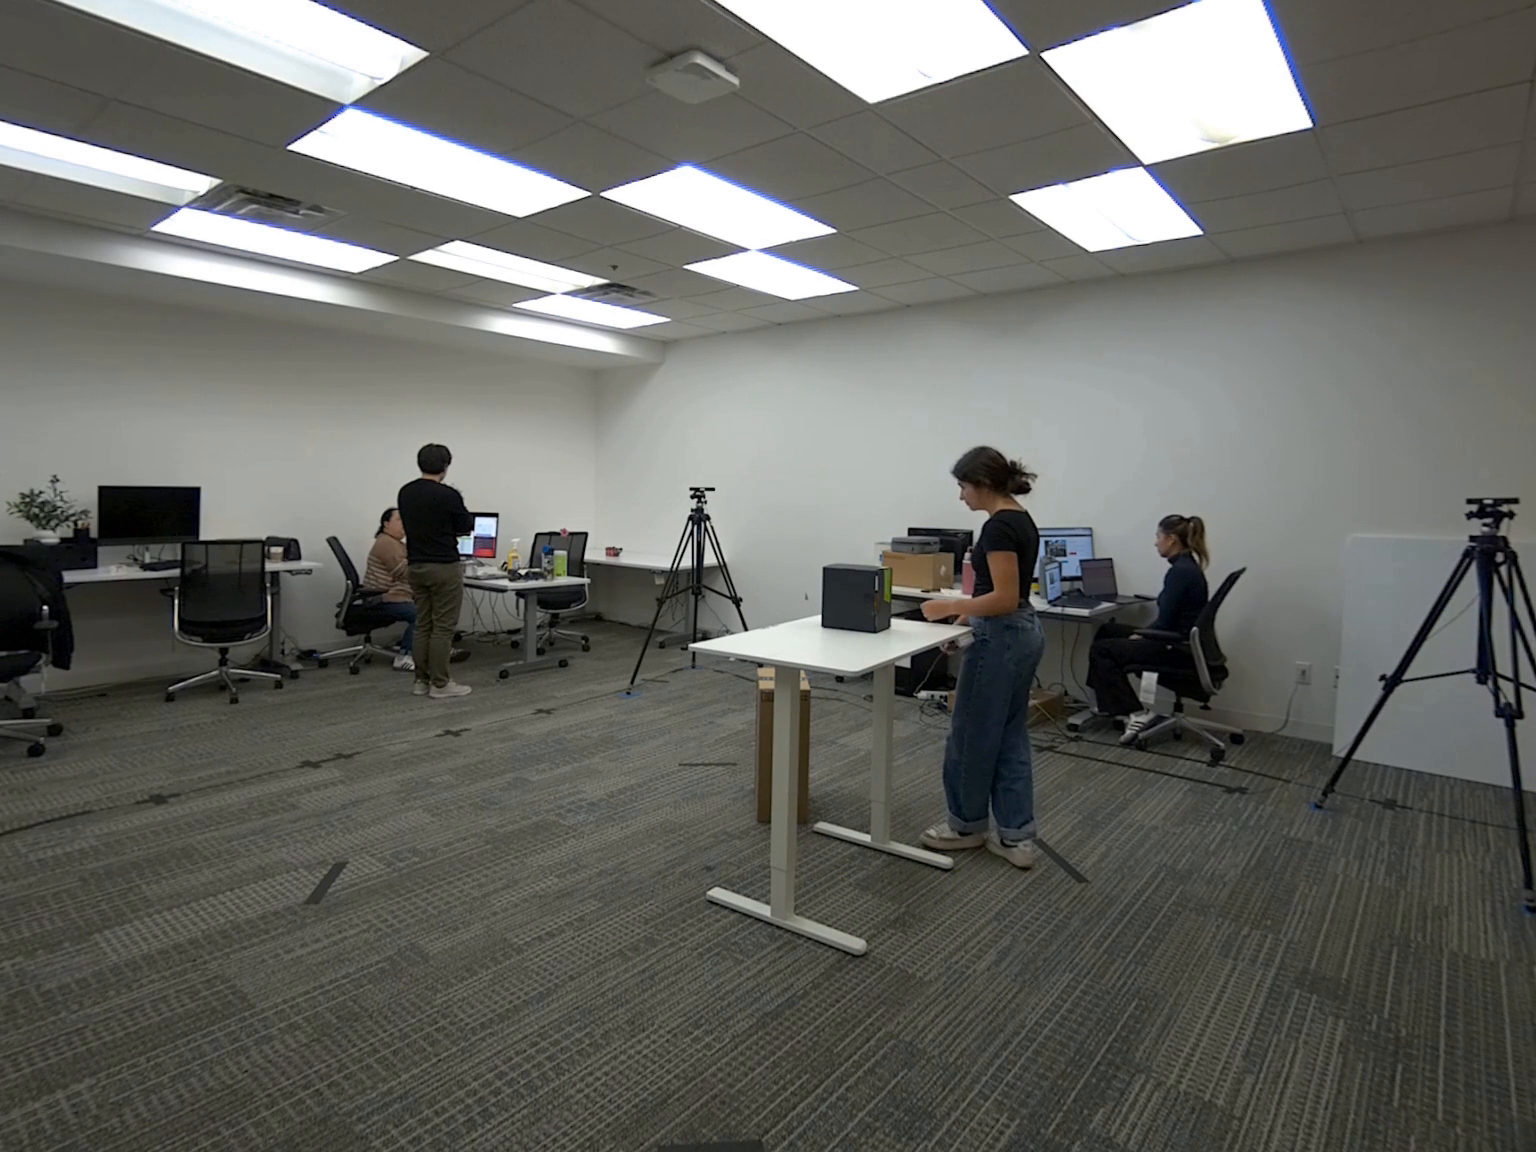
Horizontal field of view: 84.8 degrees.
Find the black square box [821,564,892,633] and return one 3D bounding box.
[{"bbox_3d":[0.326,0.075,3.151,0.224,0.227,0.151,4,5,35],"label":"black square box"}]
